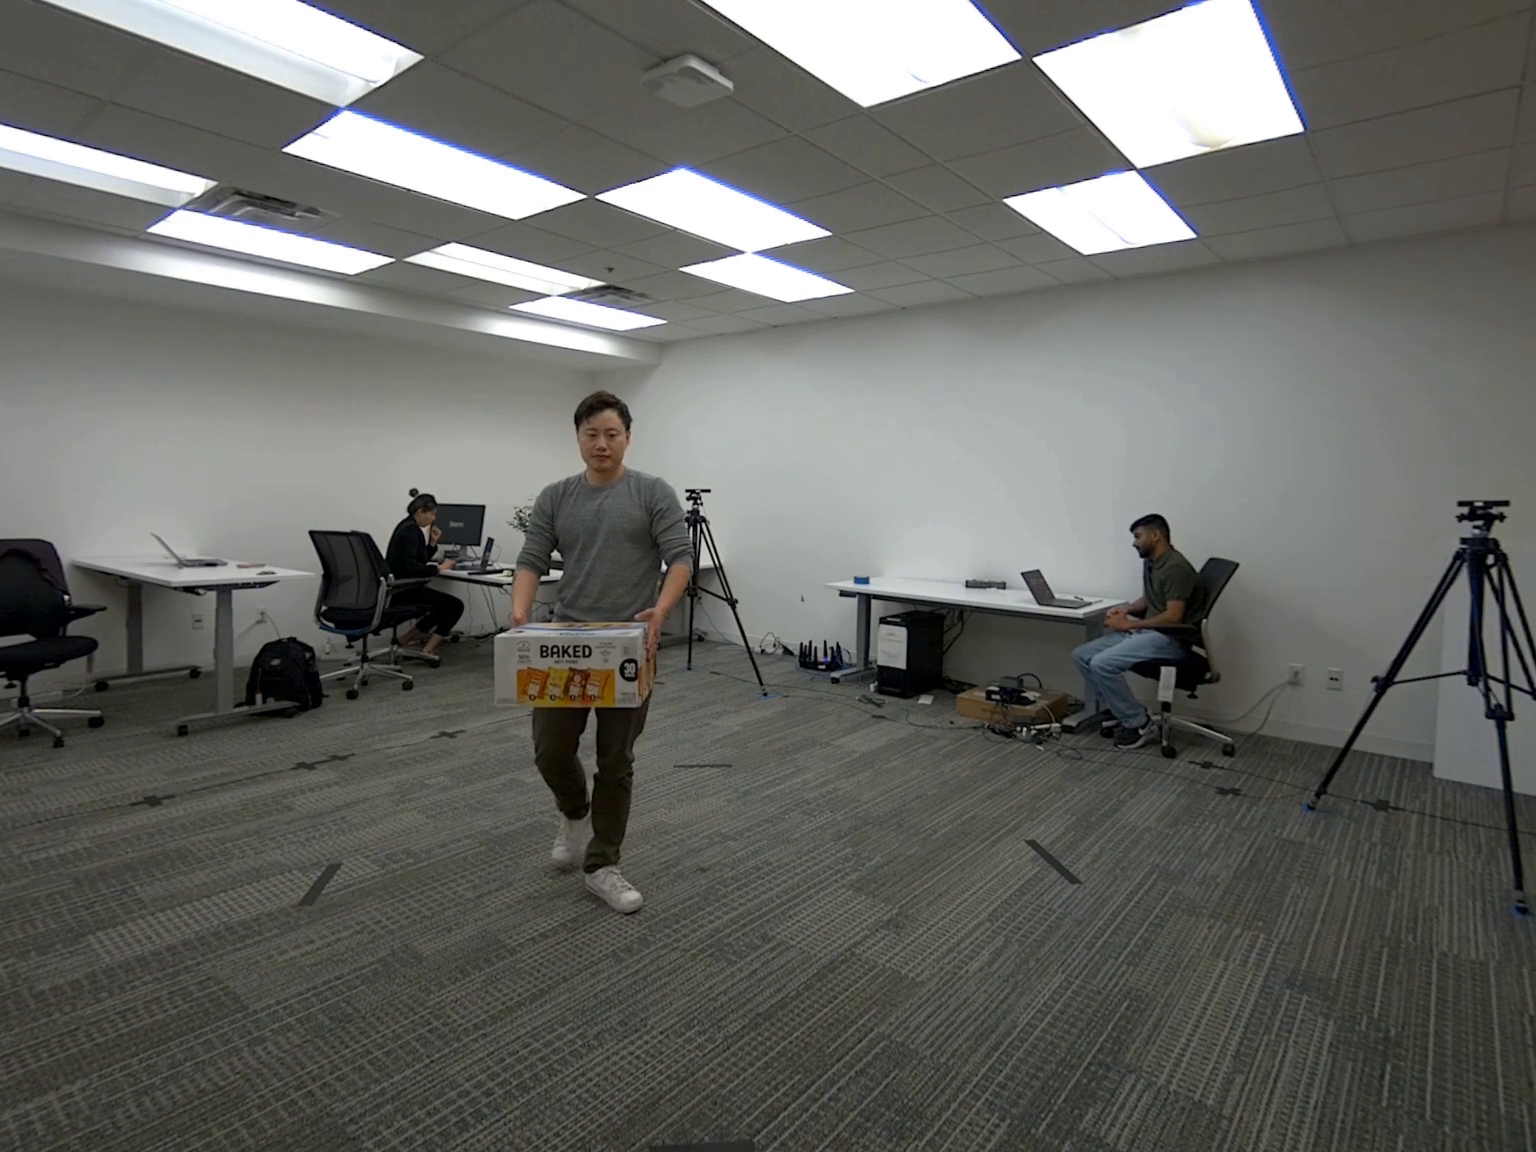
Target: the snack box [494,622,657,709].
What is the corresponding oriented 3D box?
[{"bbox_3d":[-0.570,0.256,2.532,0.406,0.205,0.340,0,2,2],"label":"snack box"}]
